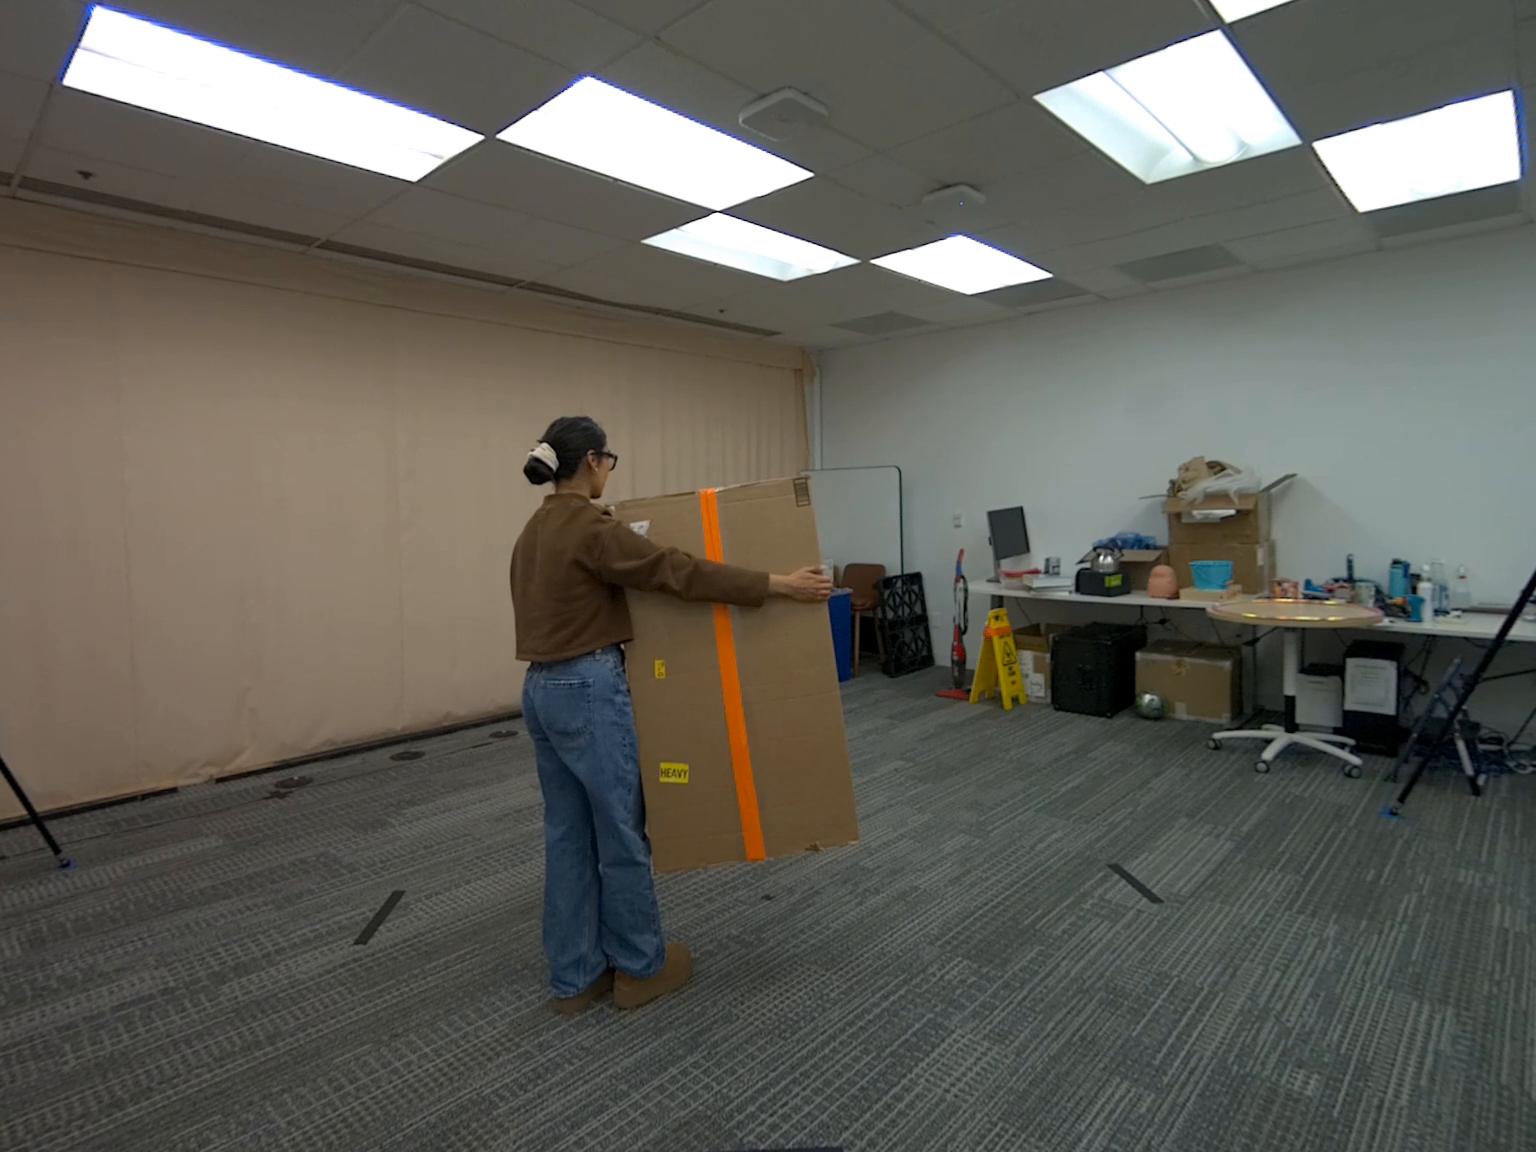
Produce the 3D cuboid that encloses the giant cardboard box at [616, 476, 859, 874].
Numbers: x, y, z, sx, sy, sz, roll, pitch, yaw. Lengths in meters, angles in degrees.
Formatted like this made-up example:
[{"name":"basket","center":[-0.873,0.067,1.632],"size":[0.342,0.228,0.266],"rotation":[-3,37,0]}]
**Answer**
[{"name":"giant cardboard box","center":[-0.115,0.269,2.508],"size":[0.576,1.026,0.427],"rotation":[-7,-1,-3]}]
